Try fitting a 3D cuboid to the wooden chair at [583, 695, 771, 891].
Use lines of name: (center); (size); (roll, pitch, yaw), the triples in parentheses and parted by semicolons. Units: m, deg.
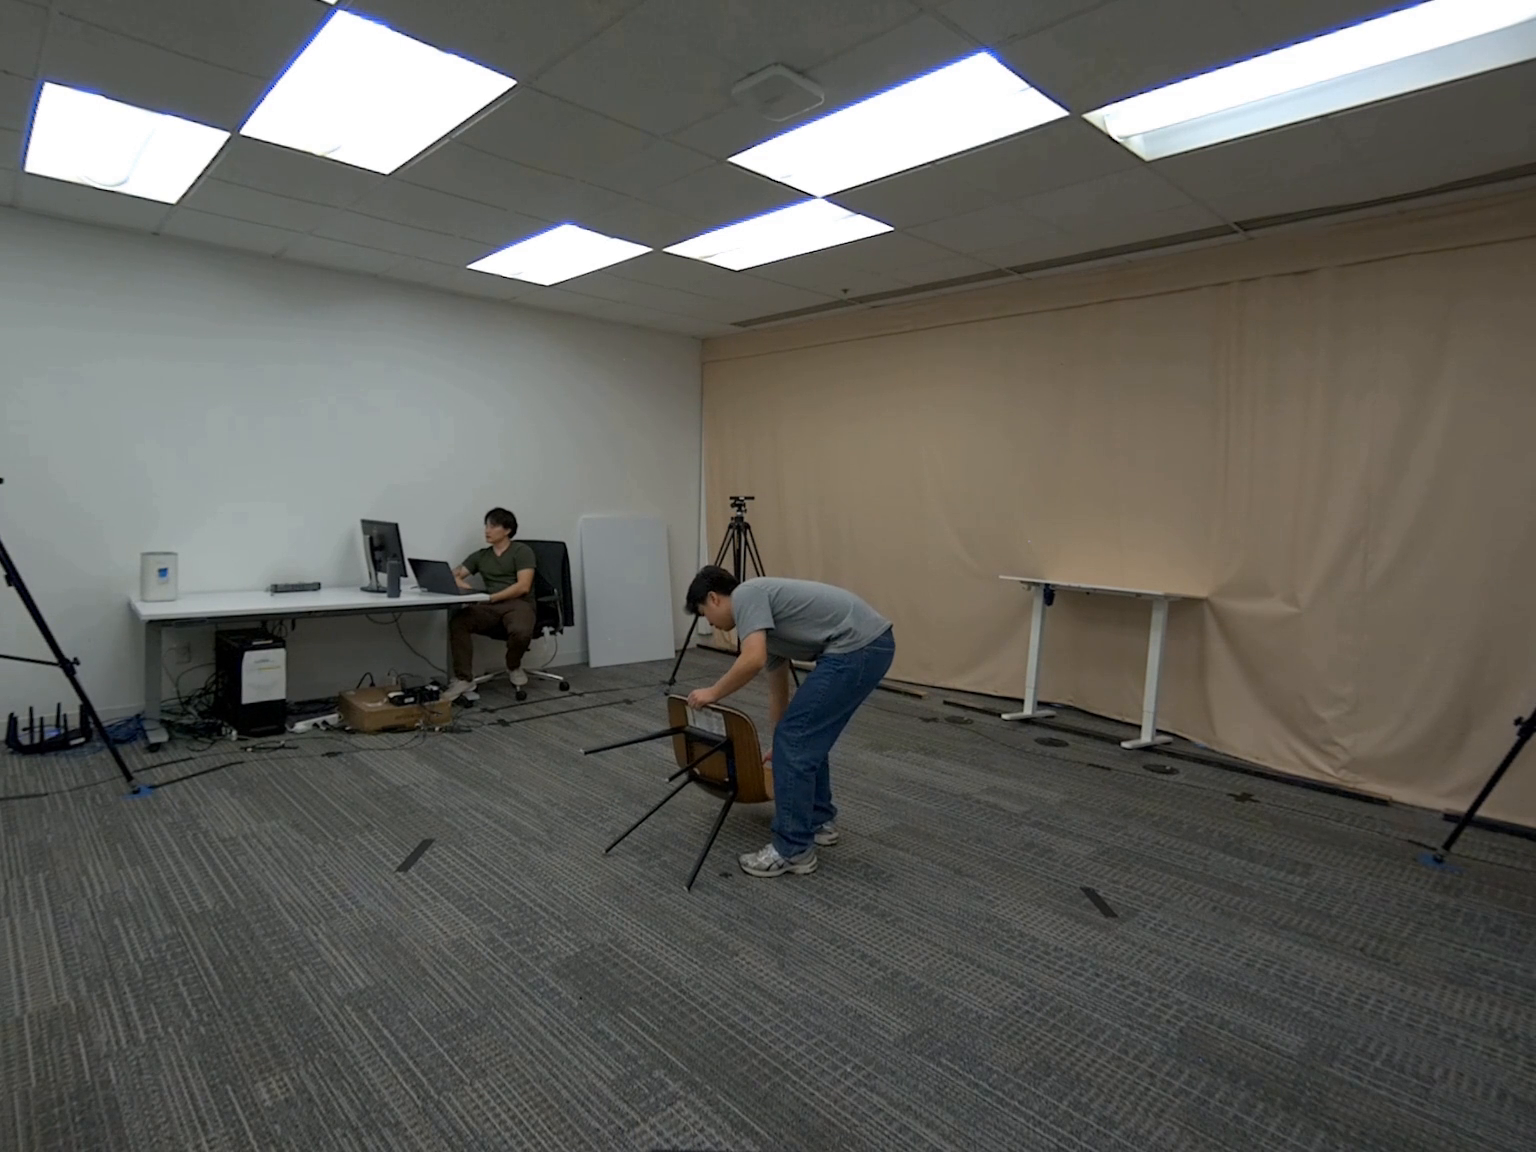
wooden chair: (-0.243, 0.736, 3.340); (0.490, 0.518, 0.864); (6, 17, 37)
